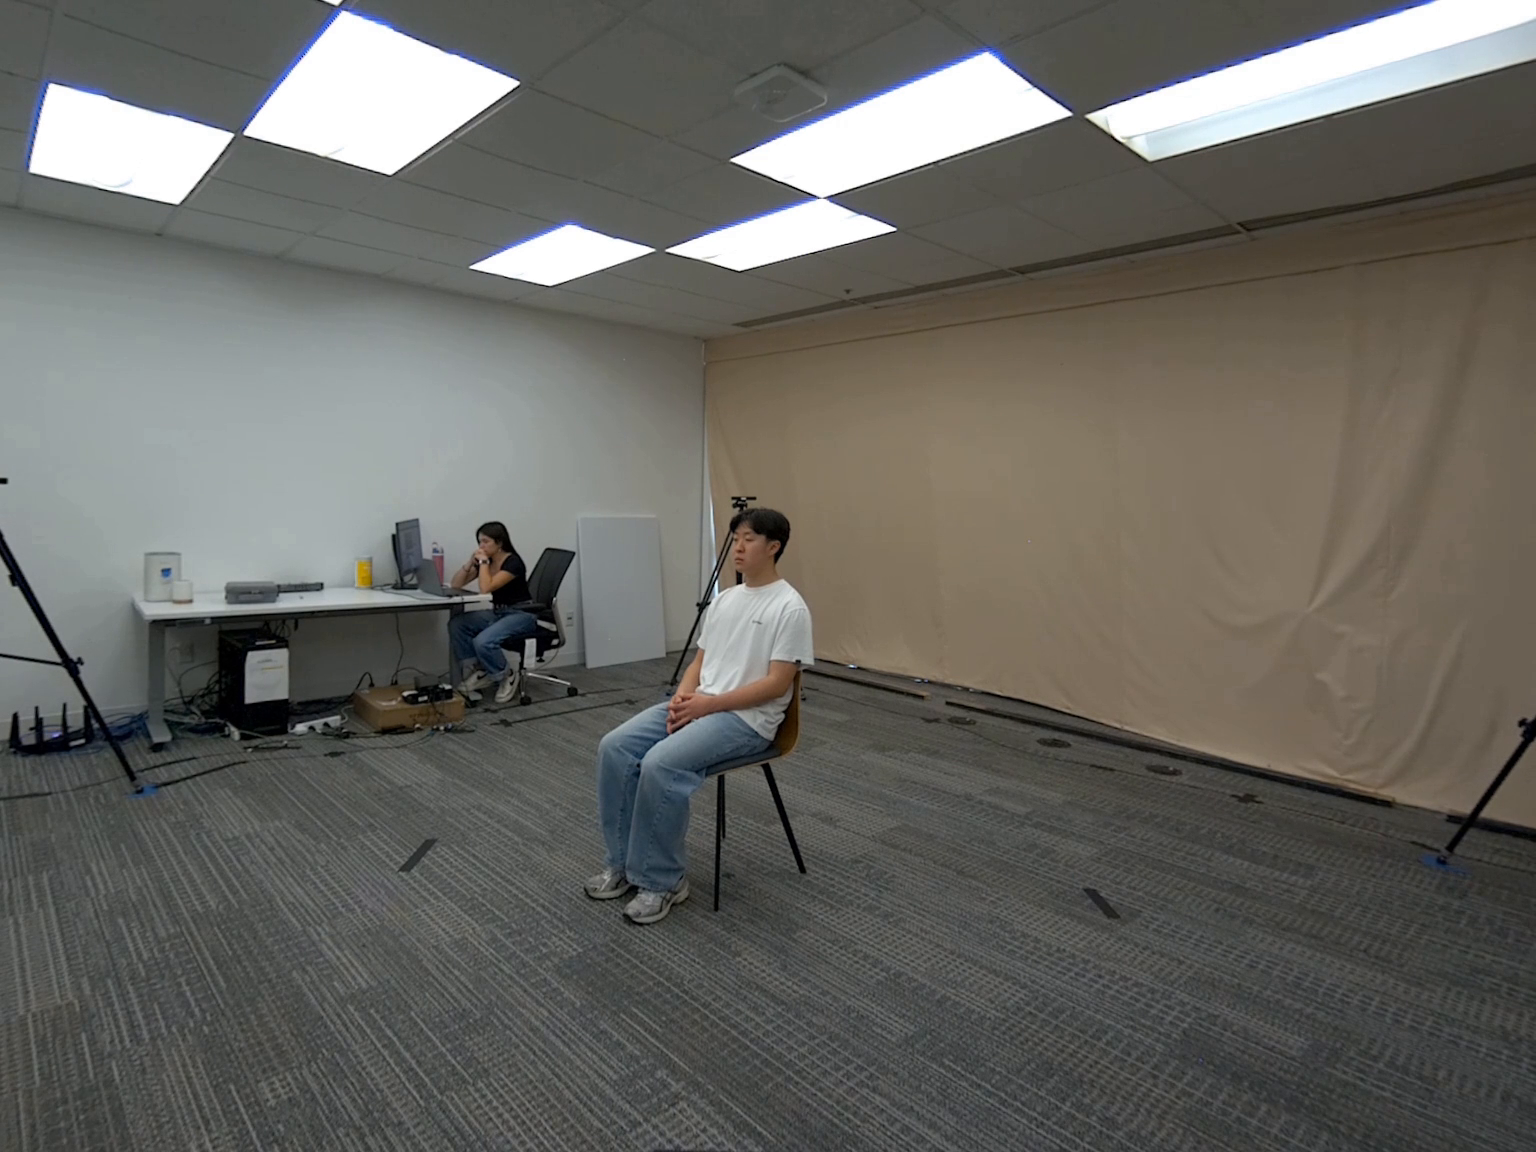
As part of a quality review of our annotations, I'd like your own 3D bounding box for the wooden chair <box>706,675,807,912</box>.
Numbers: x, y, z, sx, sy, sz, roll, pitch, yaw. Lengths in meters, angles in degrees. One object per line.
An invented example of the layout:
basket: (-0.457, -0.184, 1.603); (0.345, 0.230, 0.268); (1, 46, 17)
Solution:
wooden chair: (-0.172, 0.678, 3.119); (0.510, 0.878, 0.490); (5, -1, -45)
